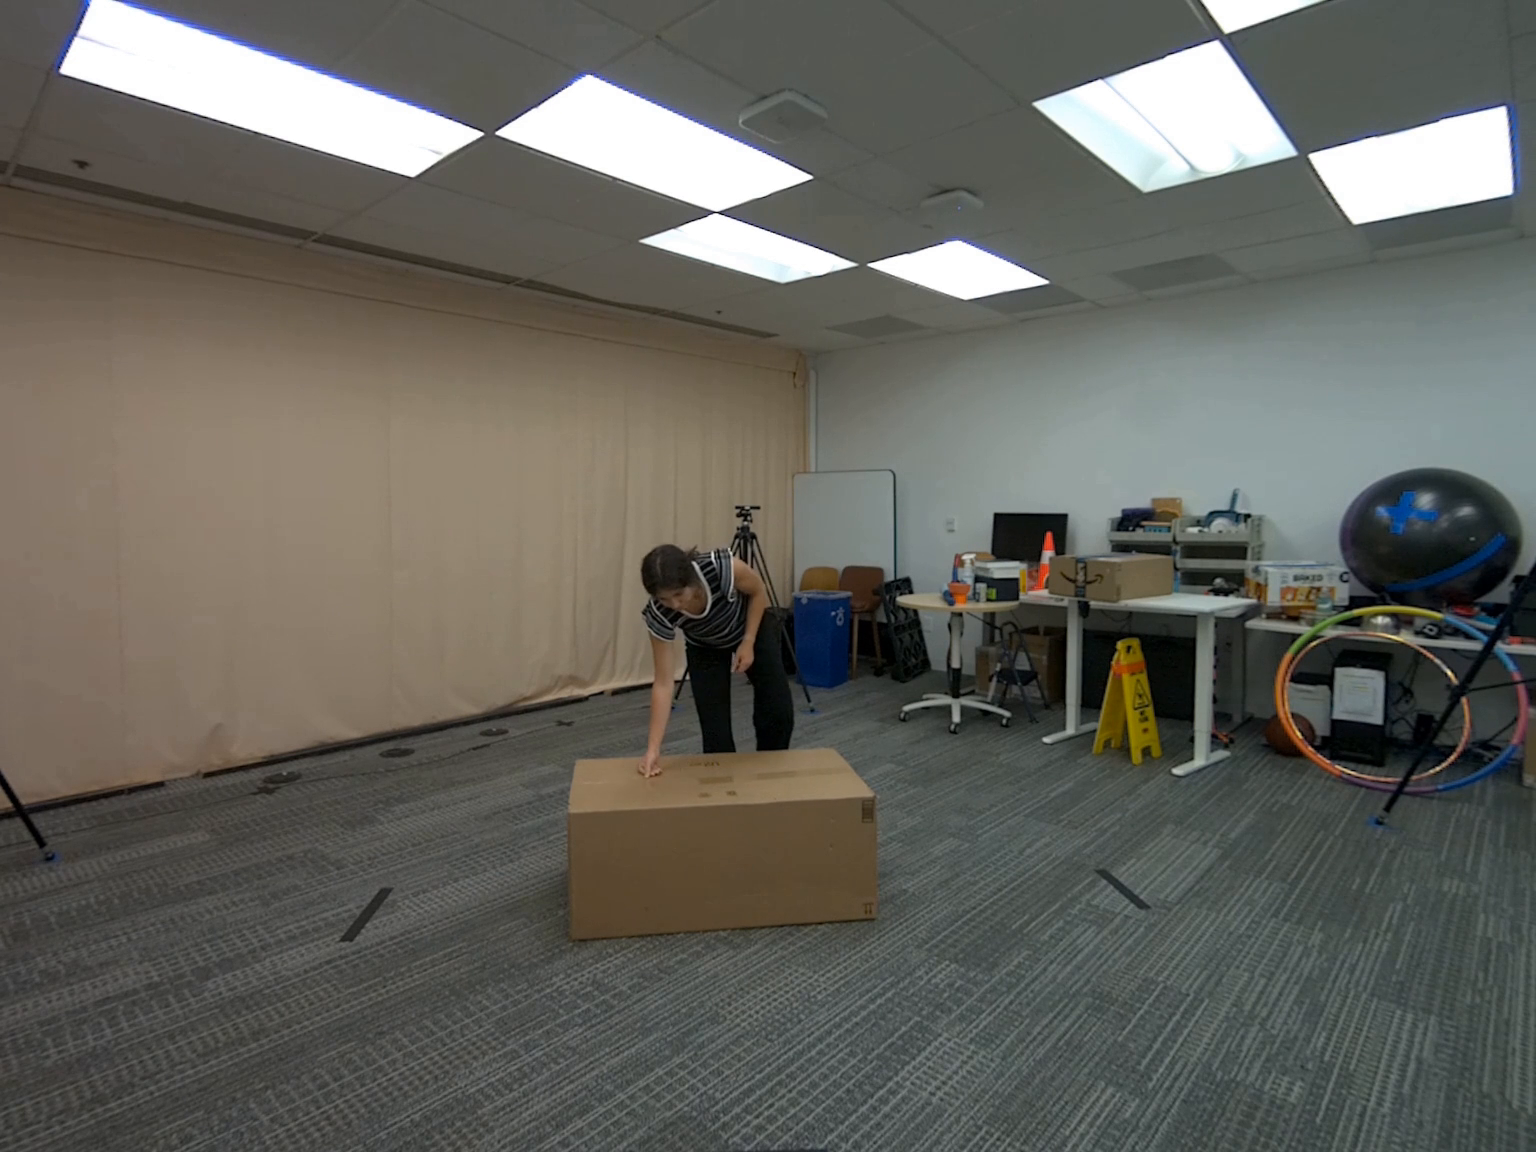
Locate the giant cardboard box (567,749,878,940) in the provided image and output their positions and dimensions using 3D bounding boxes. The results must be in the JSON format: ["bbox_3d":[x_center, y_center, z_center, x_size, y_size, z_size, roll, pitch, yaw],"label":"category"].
[{"bbox_3d":[-0.188,0.930,3.031,1.017,0.425,0.584,-1,4,-8],"label":"giant cardboard box"}]
